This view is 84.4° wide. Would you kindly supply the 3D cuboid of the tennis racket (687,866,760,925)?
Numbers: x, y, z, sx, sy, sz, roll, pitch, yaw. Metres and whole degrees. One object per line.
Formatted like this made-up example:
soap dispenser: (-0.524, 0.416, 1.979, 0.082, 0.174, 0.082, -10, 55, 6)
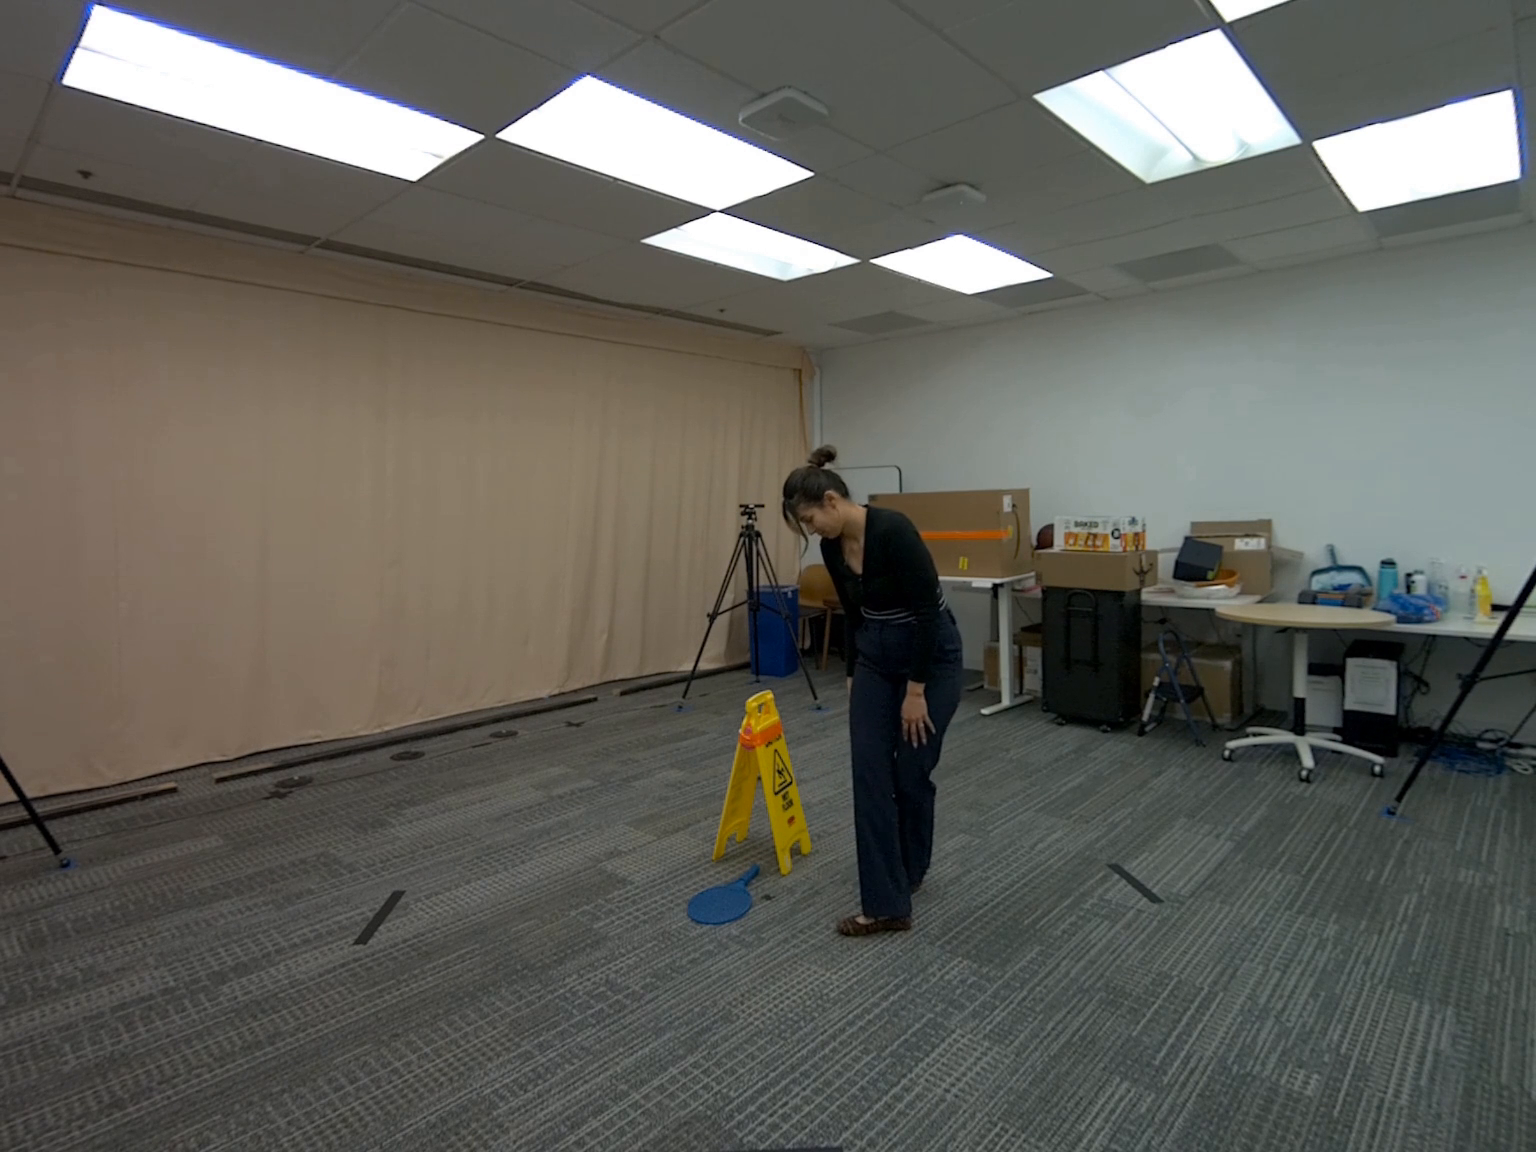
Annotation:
tennis racket: (-0.133, 1.125, 2.996, 0.219, 0.031, 0.423, 1, 7, 27)
